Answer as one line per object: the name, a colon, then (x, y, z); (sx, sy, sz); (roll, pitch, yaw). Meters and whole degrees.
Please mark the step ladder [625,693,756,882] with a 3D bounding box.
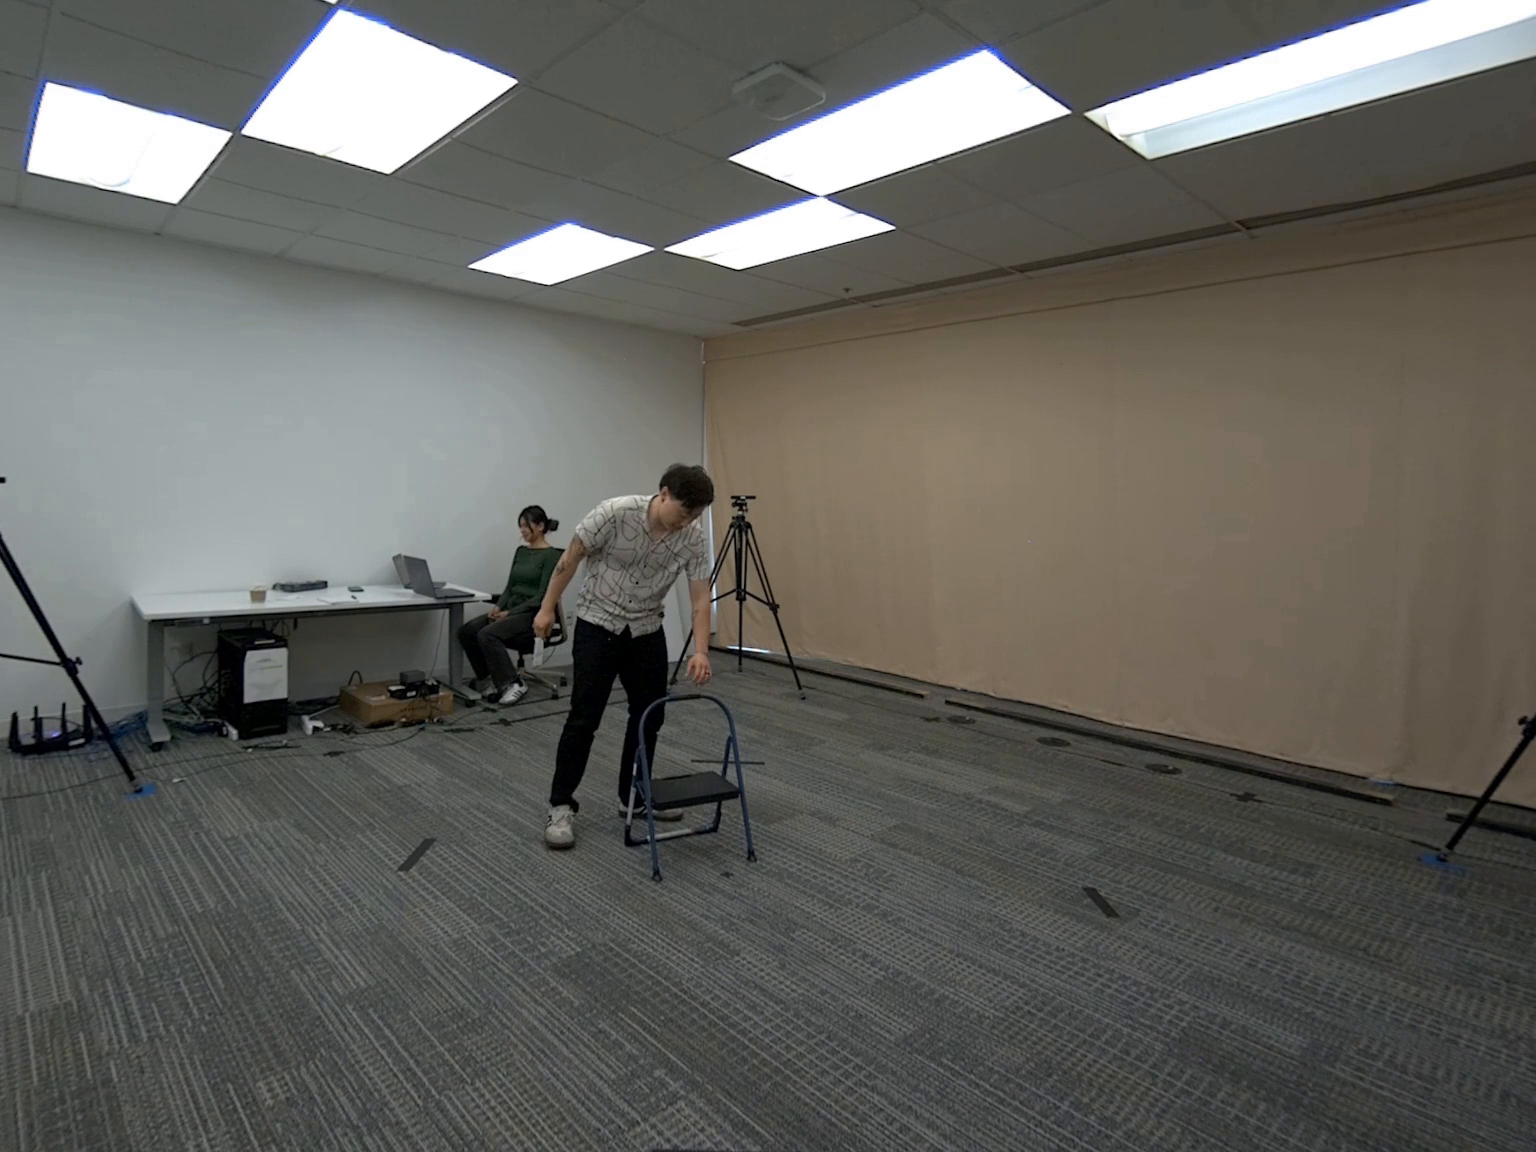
step ladder: (-0.307, 0.778, 3.268); (0.422, 0.605, 0.357); (-1, 3, -29)
